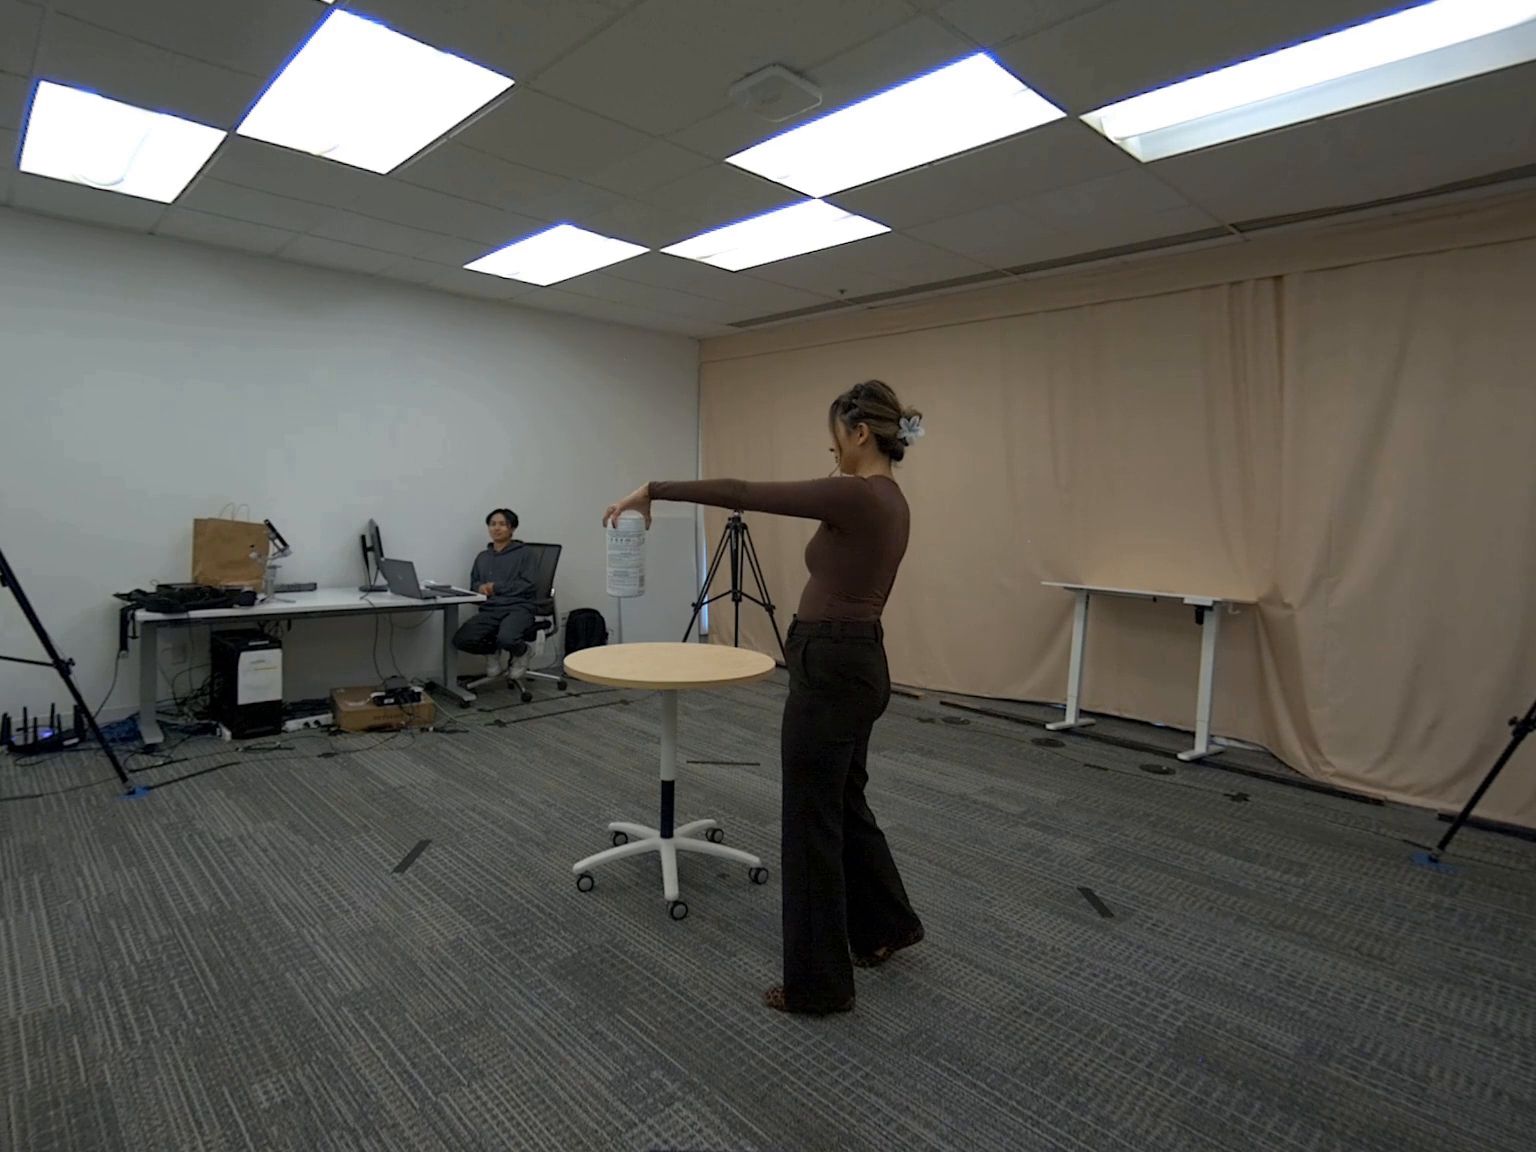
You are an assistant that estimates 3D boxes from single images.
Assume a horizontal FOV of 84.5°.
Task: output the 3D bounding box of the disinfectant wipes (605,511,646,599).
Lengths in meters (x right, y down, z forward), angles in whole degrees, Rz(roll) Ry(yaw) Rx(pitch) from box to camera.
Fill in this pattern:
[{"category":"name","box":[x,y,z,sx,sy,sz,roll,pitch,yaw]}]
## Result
[{"category":"disinfectant wipes","box":[-0.384,-0.052,2.331,0.118,0.216,0.118,1,9,-2]}]
